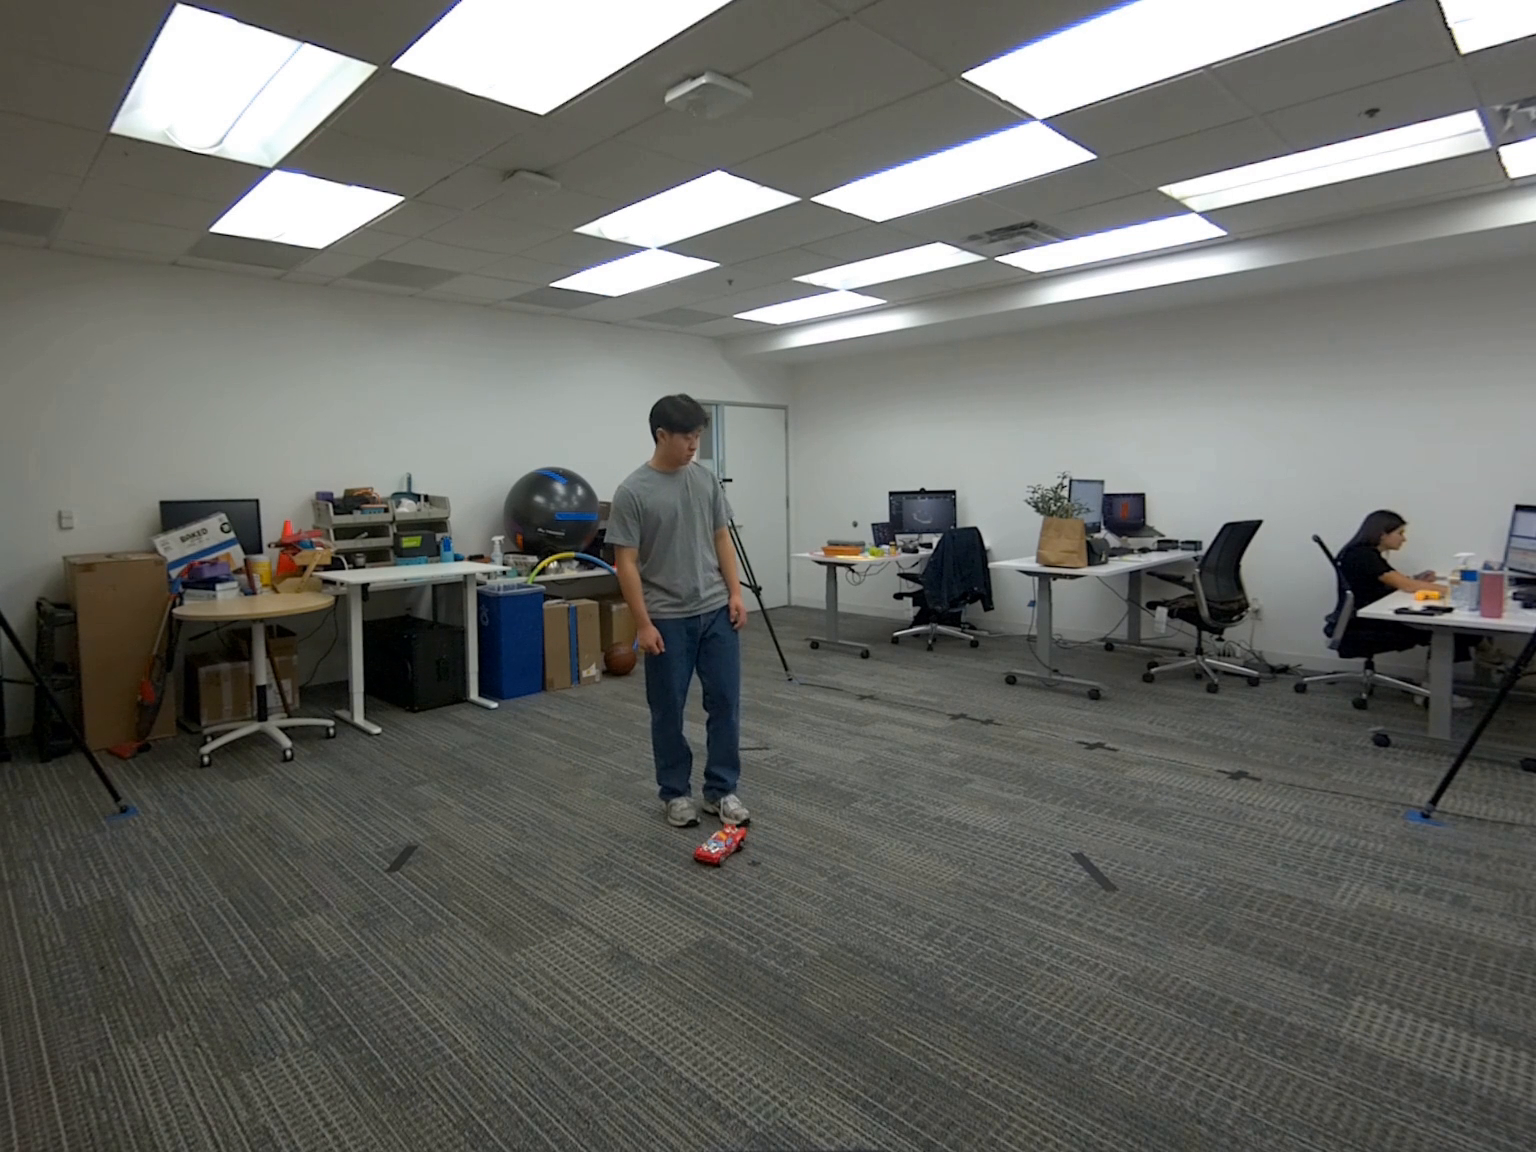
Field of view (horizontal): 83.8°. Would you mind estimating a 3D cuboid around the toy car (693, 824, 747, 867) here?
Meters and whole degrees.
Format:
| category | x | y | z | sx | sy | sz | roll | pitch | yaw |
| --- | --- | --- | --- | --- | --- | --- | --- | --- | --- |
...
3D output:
| category | x | y | z | sx | sy | sz | roll | pitch | yaw |
| --- | --- | --- | --- | --- | --- | --- | --- | --- | --- |
| toy car | -0.168 | 1.008 | 3.205 | 0.134 | 0.082 | 0.252 | 2 | 18 | 29 |
